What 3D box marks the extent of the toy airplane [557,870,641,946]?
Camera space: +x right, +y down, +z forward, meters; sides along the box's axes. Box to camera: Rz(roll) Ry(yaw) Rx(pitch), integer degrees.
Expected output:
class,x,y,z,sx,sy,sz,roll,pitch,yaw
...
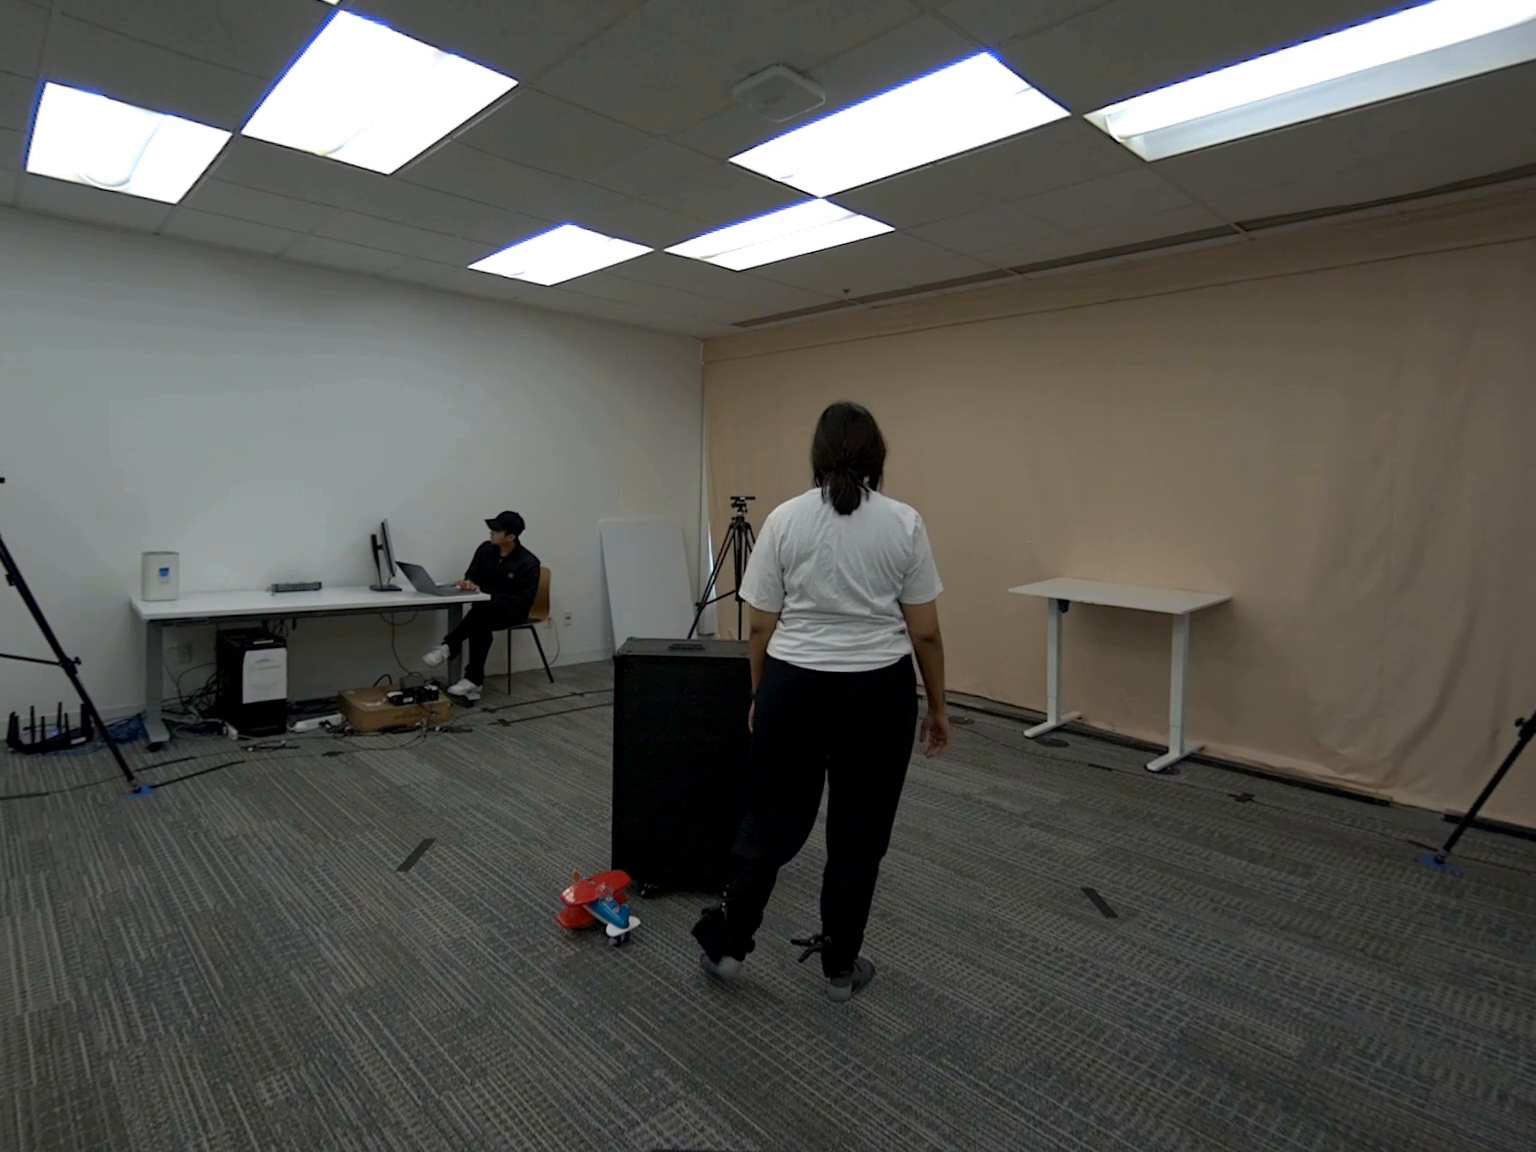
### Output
class,x,y,z,sx,sy,sz,roll,pitch,yaw
toy airplane,-0.532,1.064,2.687,0.262,0.156,0.249,0,5,12
